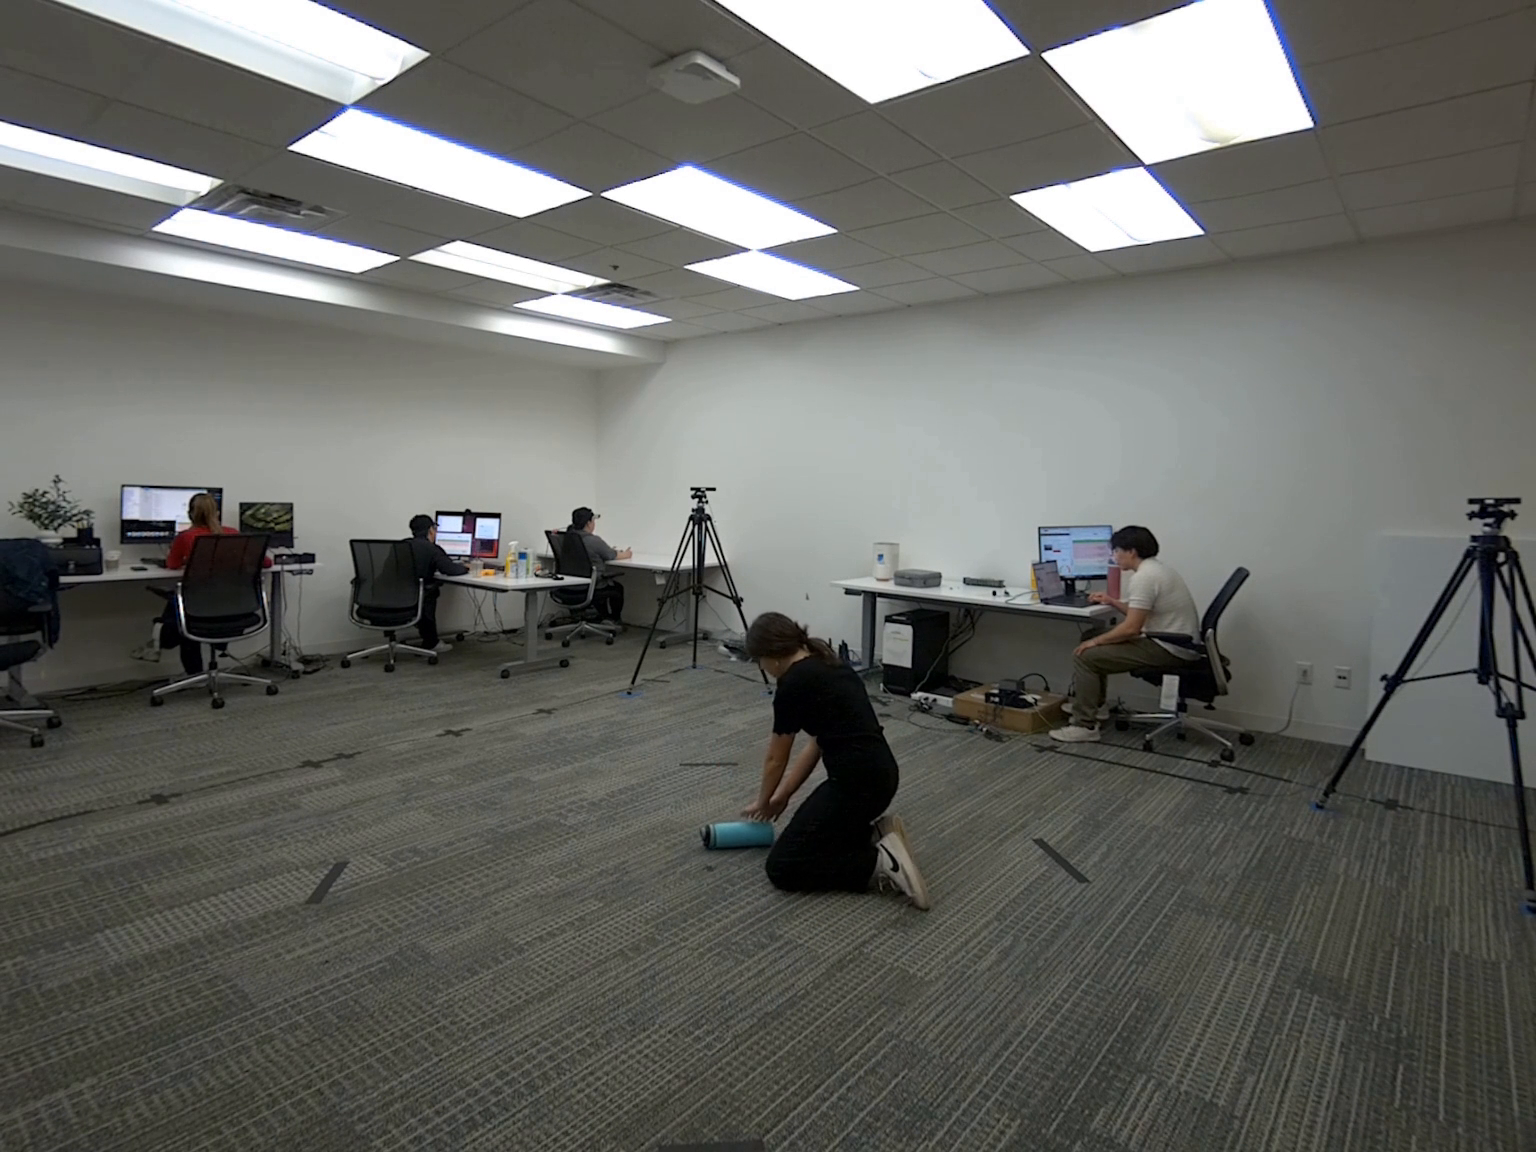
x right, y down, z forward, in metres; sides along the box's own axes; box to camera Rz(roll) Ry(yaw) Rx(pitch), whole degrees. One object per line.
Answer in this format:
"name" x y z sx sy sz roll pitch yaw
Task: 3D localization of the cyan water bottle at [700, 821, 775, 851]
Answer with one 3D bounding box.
"cyan water bottle" -0.136 1.003 3.306 0.280 0.092 0.093 1 4 -10
